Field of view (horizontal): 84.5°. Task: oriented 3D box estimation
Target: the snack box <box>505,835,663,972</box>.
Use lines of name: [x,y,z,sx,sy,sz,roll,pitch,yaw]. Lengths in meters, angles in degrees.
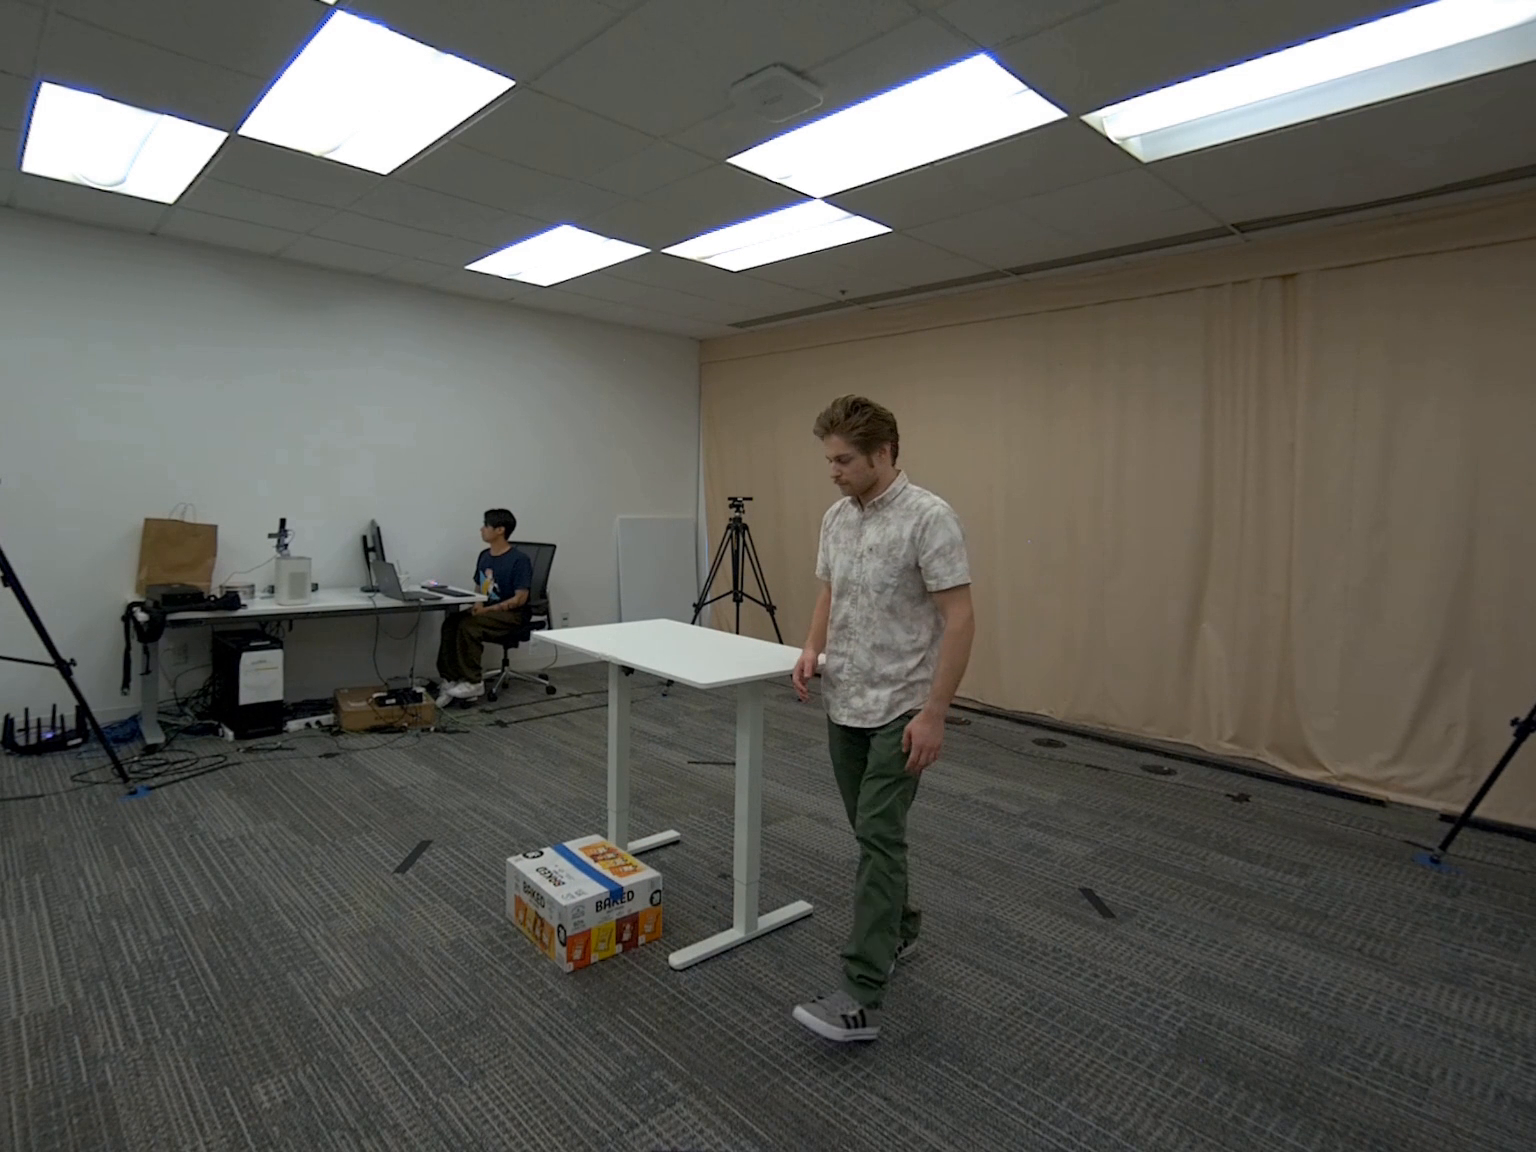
snack box: [-0.602,1.034,2.697,0.332,0.205,0.415,-2,6,-41]
